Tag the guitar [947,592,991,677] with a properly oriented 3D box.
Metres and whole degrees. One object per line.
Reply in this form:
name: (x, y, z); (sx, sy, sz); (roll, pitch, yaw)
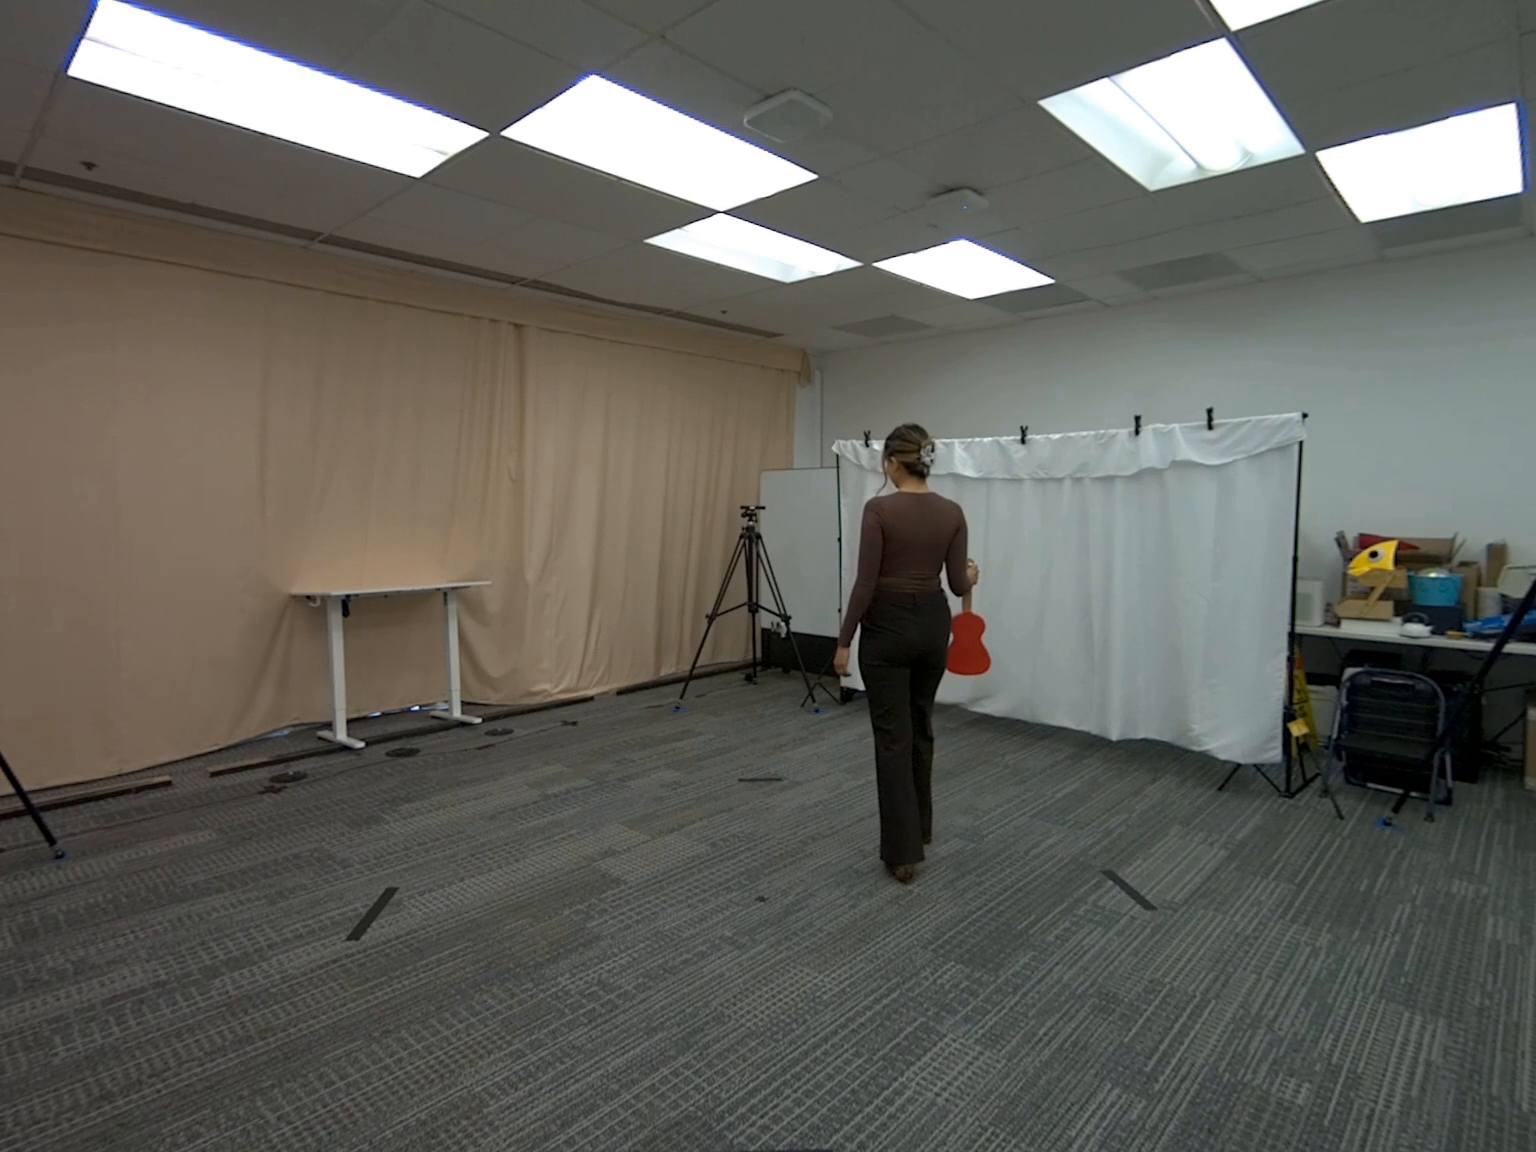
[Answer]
guitar: (0.822, 0.181, 3.621); (0.195, 0.497, 0.070); (-10, 2, 12)
